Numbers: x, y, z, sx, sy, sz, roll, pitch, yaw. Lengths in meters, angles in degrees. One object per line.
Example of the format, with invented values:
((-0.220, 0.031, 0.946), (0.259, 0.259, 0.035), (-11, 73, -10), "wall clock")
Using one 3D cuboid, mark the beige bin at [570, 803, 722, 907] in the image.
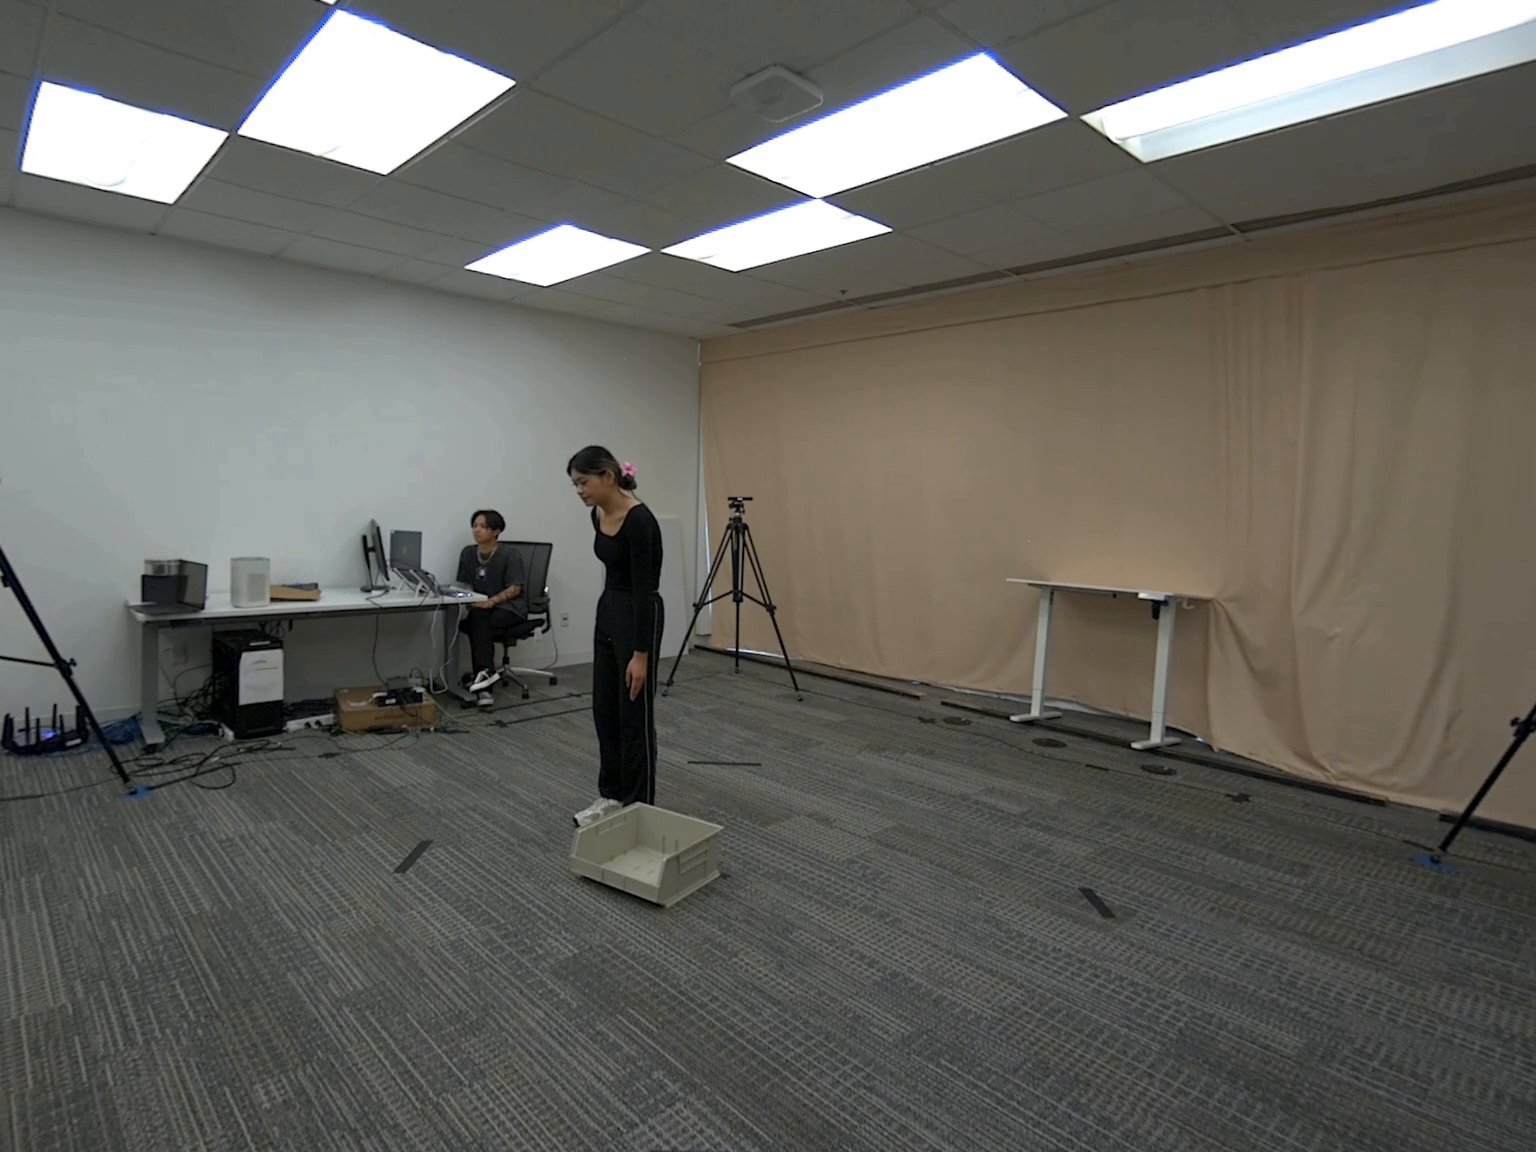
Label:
((-0.445, 1.018, 3.073), (0.432, 0.188, 0.369), (4, 4, 33), "beige bin")
